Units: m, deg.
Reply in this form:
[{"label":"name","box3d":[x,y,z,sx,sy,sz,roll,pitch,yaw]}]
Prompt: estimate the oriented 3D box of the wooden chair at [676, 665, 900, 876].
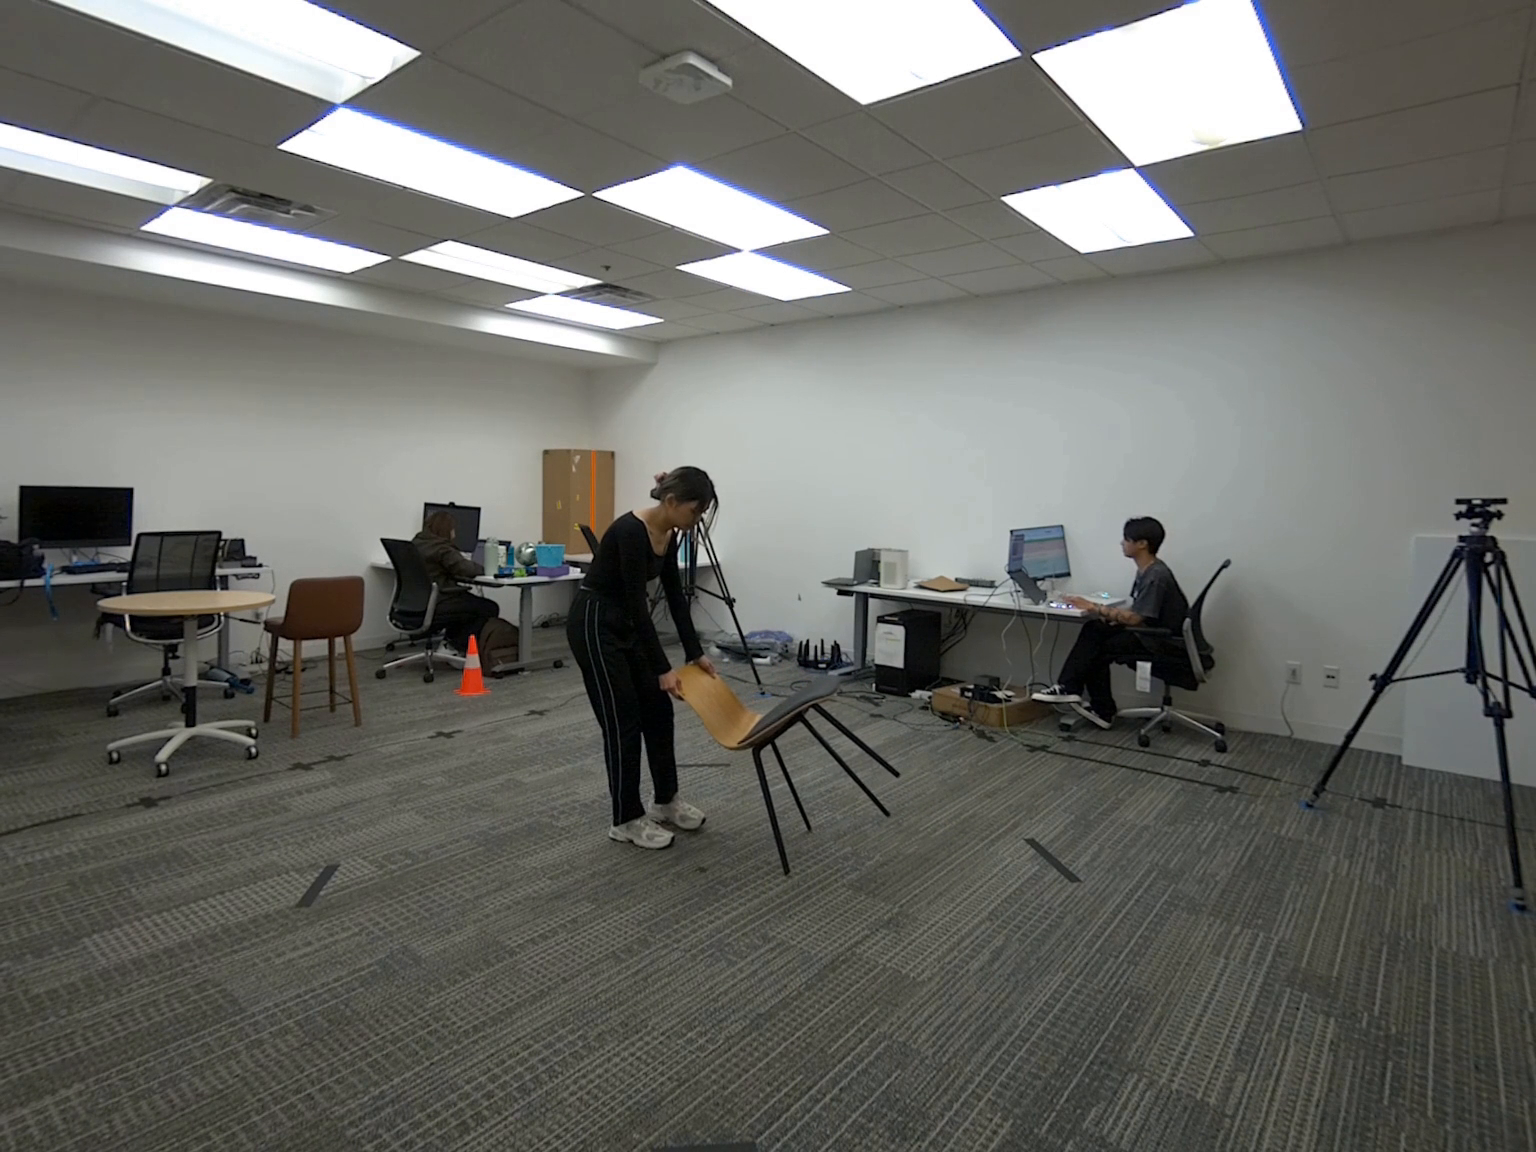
[{"label":"wooden chair","box3d":[0.052,0.576,3.271,0.524,0.889,0.471,-41,-9,15]}]
